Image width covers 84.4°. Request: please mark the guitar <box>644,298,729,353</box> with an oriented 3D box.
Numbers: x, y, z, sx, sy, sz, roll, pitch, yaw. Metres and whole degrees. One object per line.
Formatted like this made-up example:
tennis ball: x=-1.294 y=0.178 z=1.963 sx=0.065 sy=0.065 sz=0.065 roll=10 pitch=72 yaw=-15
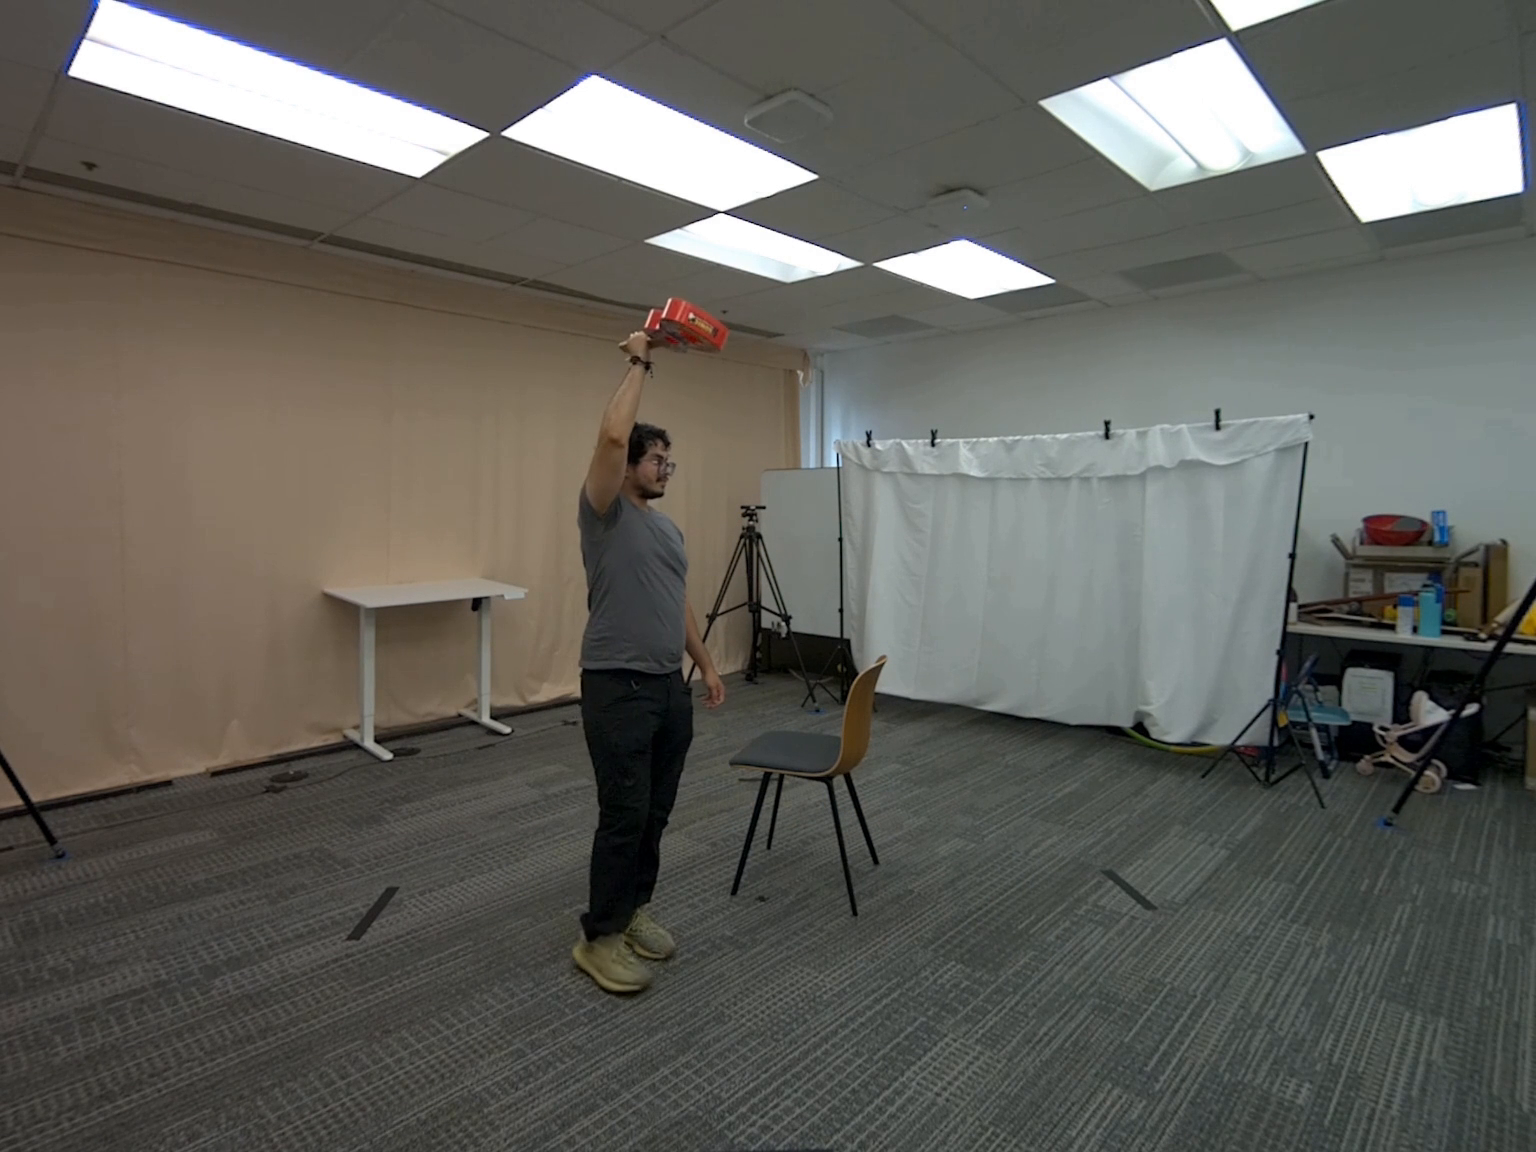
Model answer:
guitar: x=-0.322 y=-0.709 z=2.412 sx=0.186 sy=0.071 sz=0.516 roll=27 pitch=-6 yaw=-41
